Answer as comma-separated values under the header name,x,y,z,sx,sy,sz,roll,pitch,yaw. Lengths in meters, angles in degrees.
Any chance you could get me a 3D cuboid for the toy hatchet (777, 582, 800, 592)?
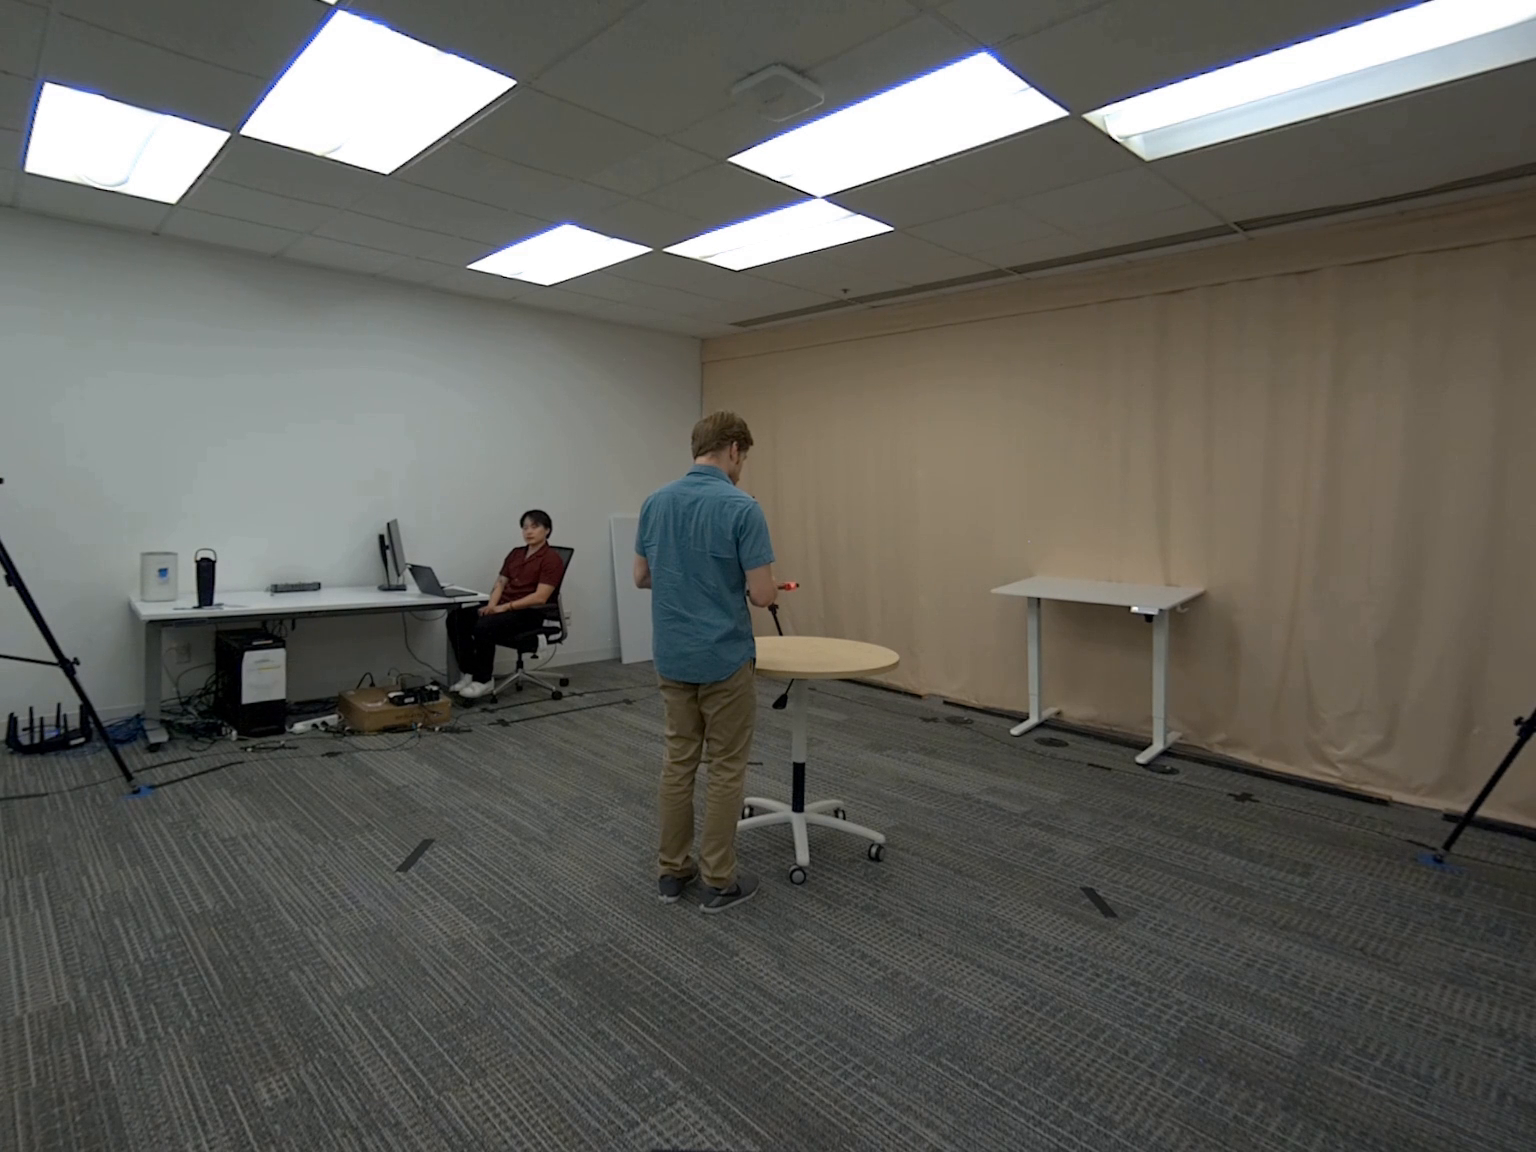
name,x,y,z,sx,sy,sz,roll,pitch,yaw
toy hatchet,-0.030,0.044,3.101,0.273,0.029,0.130,-1,7,13
